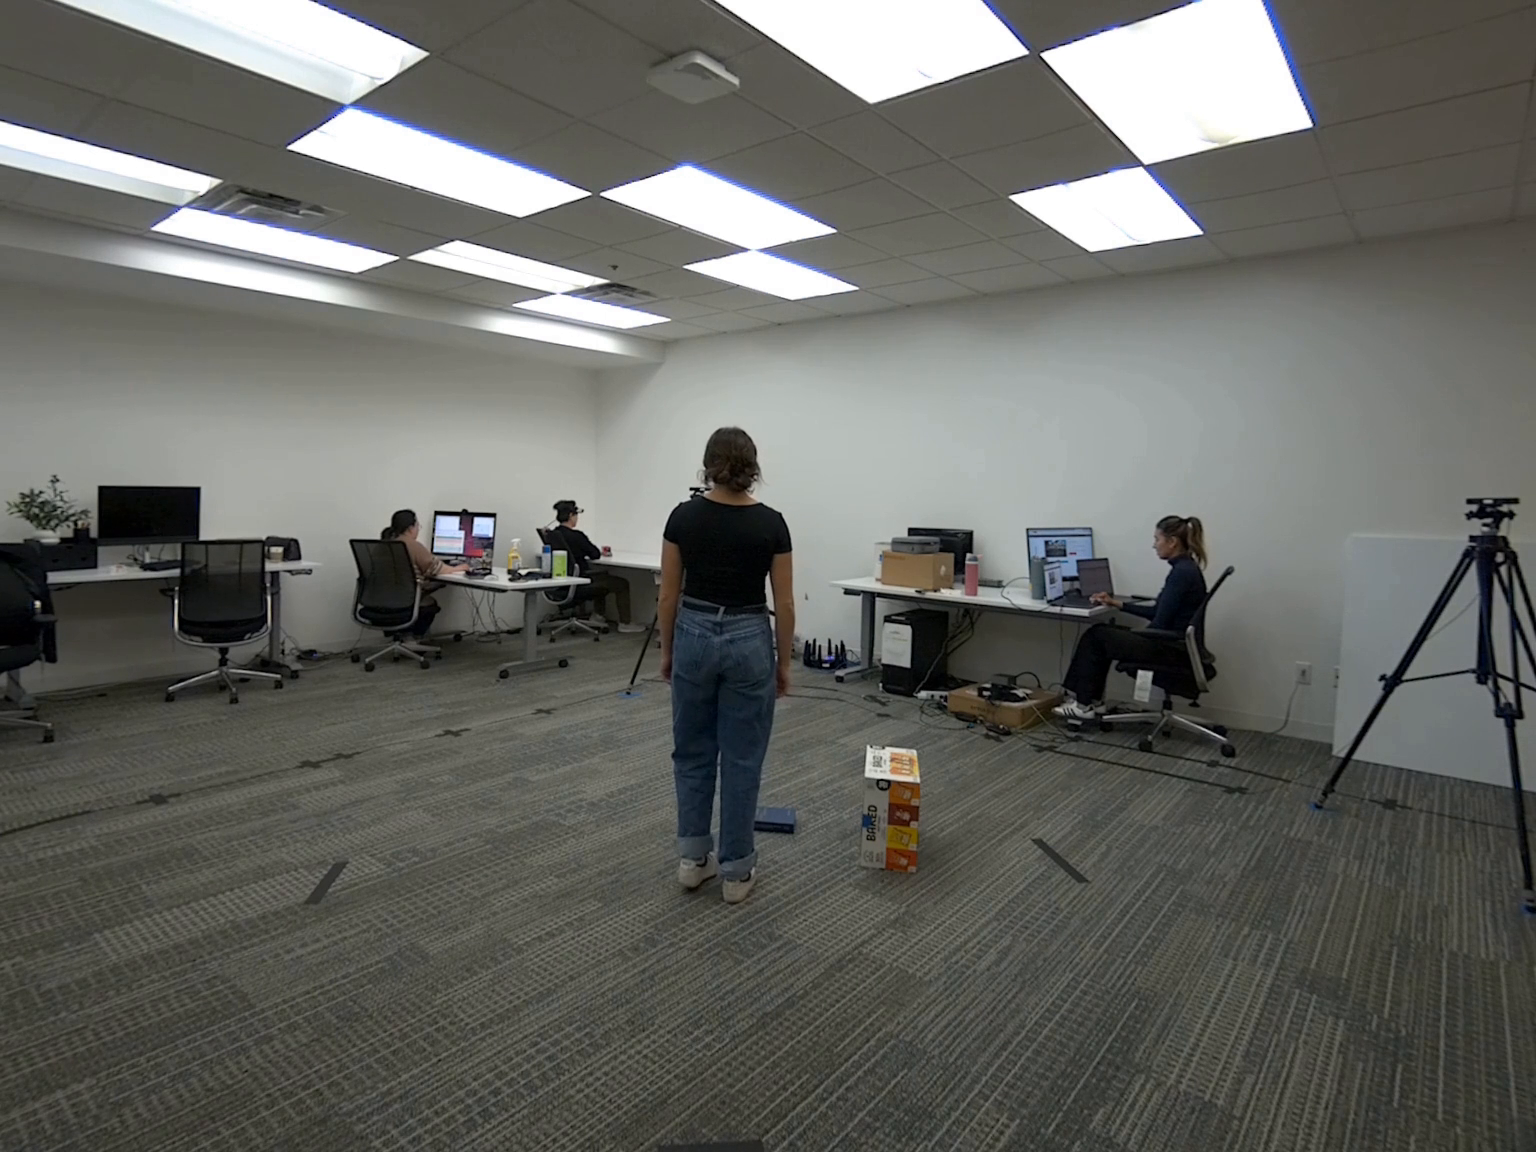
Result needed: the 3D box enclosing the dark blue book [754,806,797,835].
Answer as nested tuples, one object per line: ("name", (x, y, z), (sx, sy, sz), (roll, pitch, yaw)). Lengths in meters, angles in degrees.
("dark blue book", (-0.021, 1.001, 3.534), (0.247, 0.045, 0.163), (2, 6, 7))
